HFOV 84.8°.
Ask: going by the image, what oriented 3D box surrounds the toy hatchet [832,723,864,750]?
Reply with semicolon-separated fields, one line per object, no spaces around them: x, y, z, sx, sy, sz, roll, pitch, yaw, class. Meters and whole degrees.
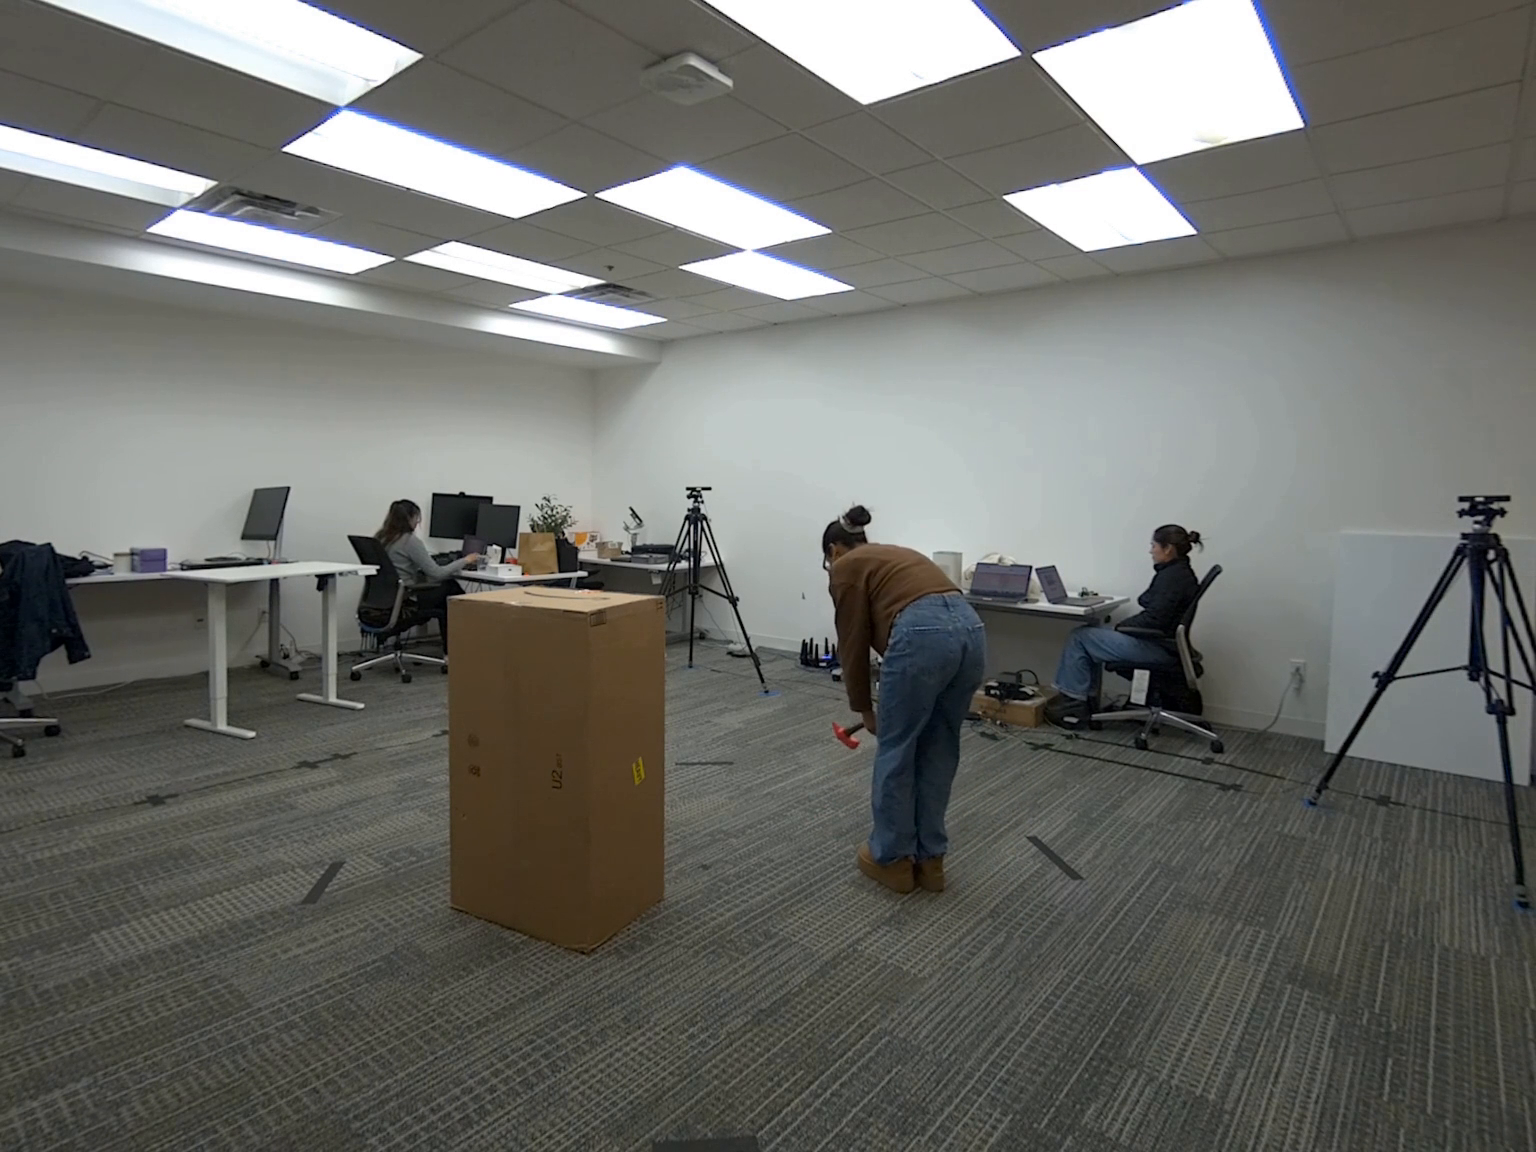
0.347;0.611;3.264;0.029;0.129;0.277;-35;17;-36;toy hatchet
